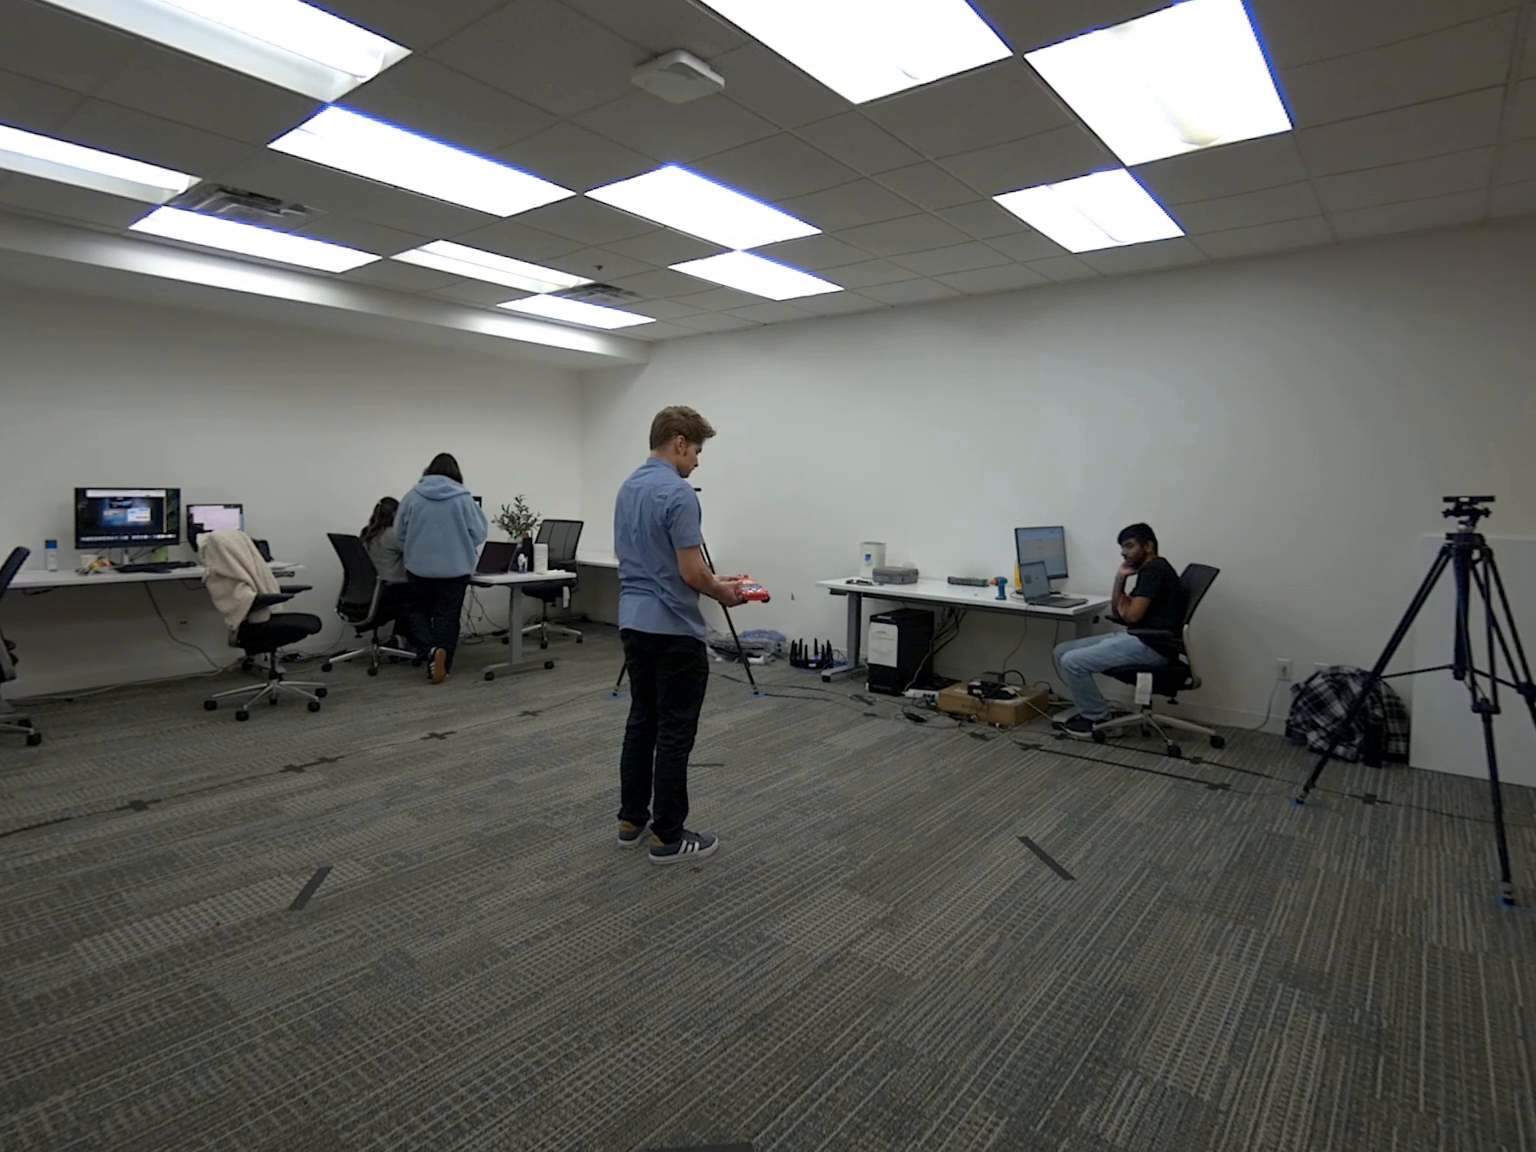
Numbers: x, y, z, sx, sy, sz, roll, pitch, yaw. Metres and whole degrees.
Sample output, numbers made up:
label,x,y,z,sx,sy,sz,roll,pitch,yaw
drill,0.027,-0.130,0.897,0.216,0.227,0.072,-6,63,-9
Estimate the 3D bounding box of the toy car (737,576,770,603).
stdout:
label,x,y,z,sx,sy,sz,roll,pitch,yaw
toy car,-0.095,0.059,3.433,0.128,0.082,0.263,-1,21,-16
